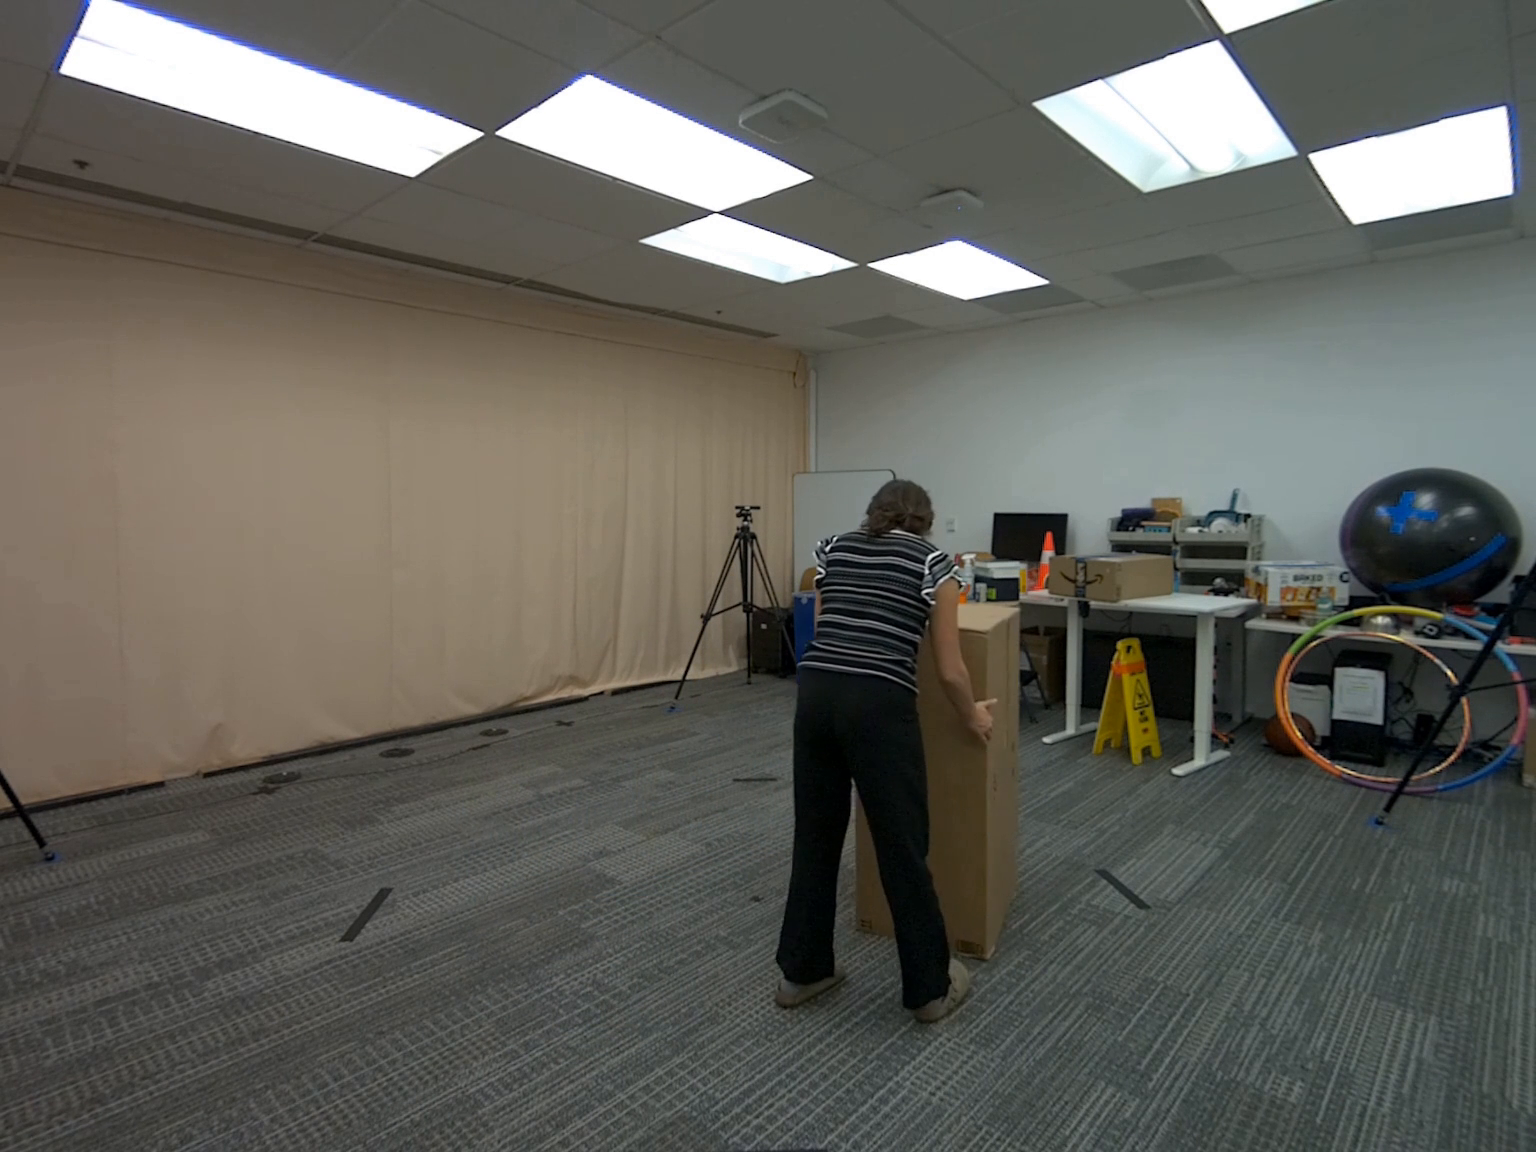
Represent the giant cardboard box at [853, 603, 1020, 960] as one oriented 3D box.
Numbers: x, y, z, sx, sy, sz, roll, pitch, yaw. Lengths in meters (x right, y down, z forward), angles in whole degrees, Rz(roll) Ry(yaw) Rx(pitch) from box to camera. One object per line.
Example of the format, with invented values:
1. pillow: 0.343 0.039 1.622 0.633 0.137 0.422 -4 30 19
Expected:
1. giant cardboard box: 0.595 0.639 2.889 0.438 1.023 0.563 1 4 27
